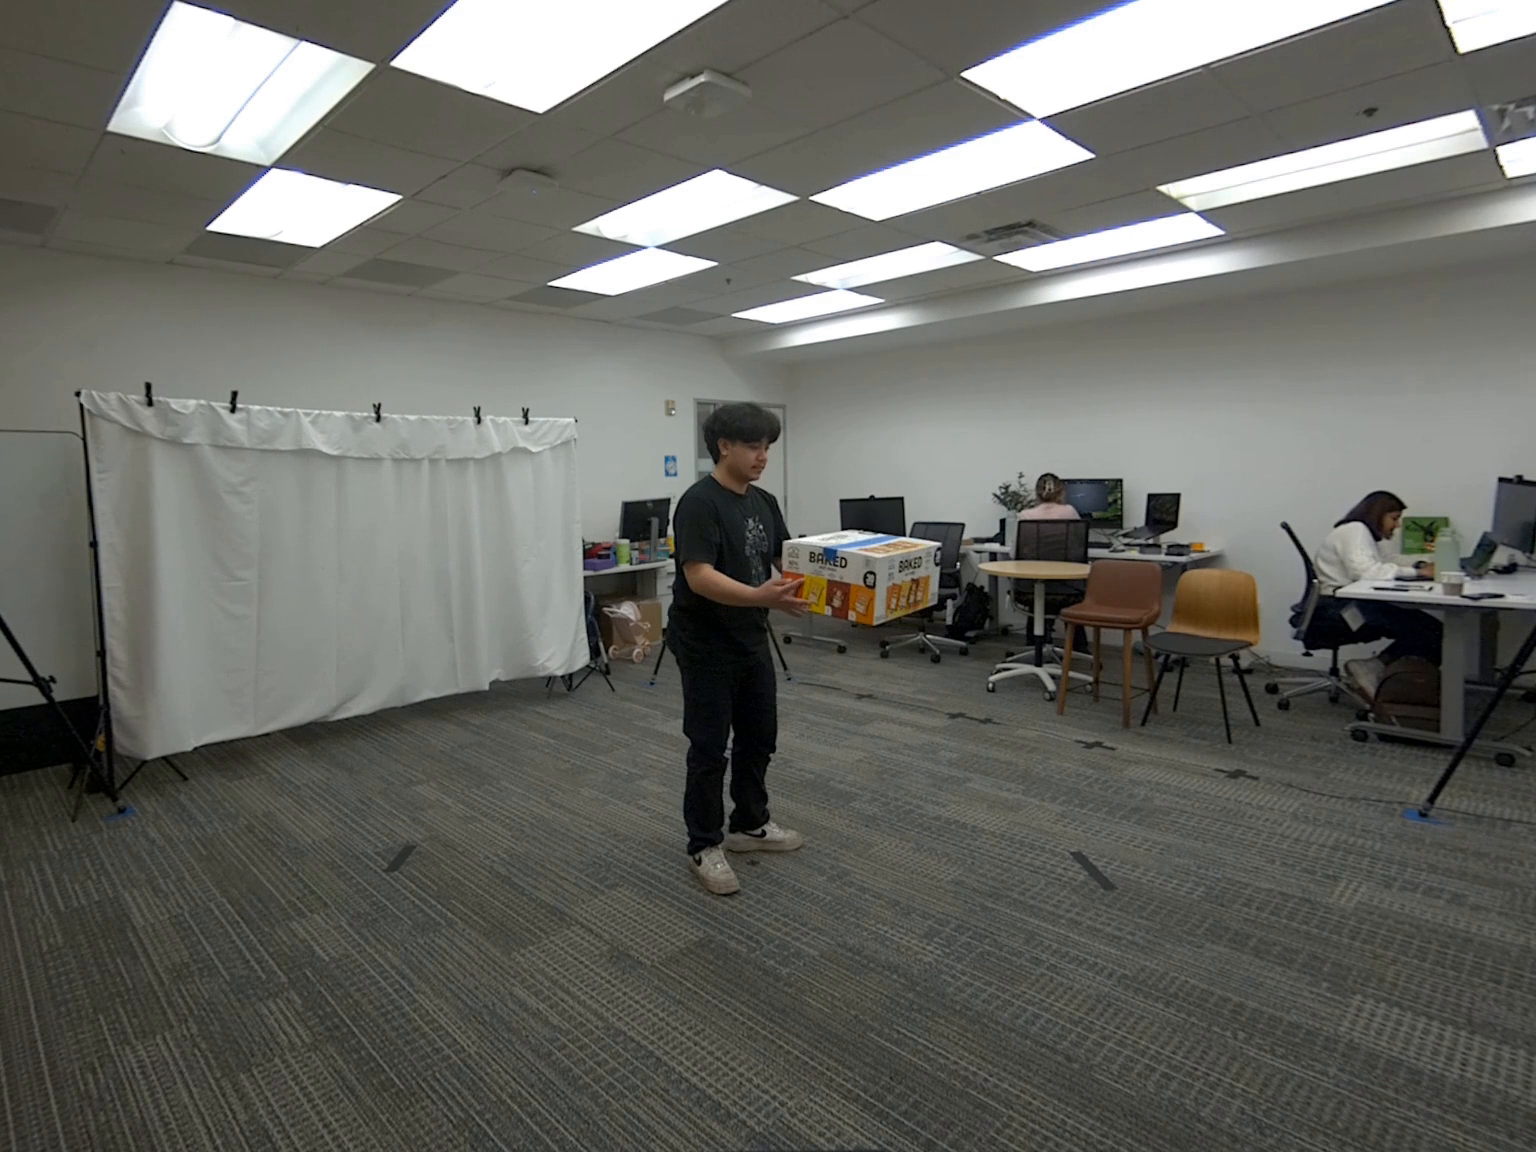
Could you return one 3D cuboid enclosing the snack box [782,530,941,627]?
[{"bbox_3d":[0.299,-0.008,2.701,0.351,0.204,0.395,11,13,37],"label":"snack box"}]
